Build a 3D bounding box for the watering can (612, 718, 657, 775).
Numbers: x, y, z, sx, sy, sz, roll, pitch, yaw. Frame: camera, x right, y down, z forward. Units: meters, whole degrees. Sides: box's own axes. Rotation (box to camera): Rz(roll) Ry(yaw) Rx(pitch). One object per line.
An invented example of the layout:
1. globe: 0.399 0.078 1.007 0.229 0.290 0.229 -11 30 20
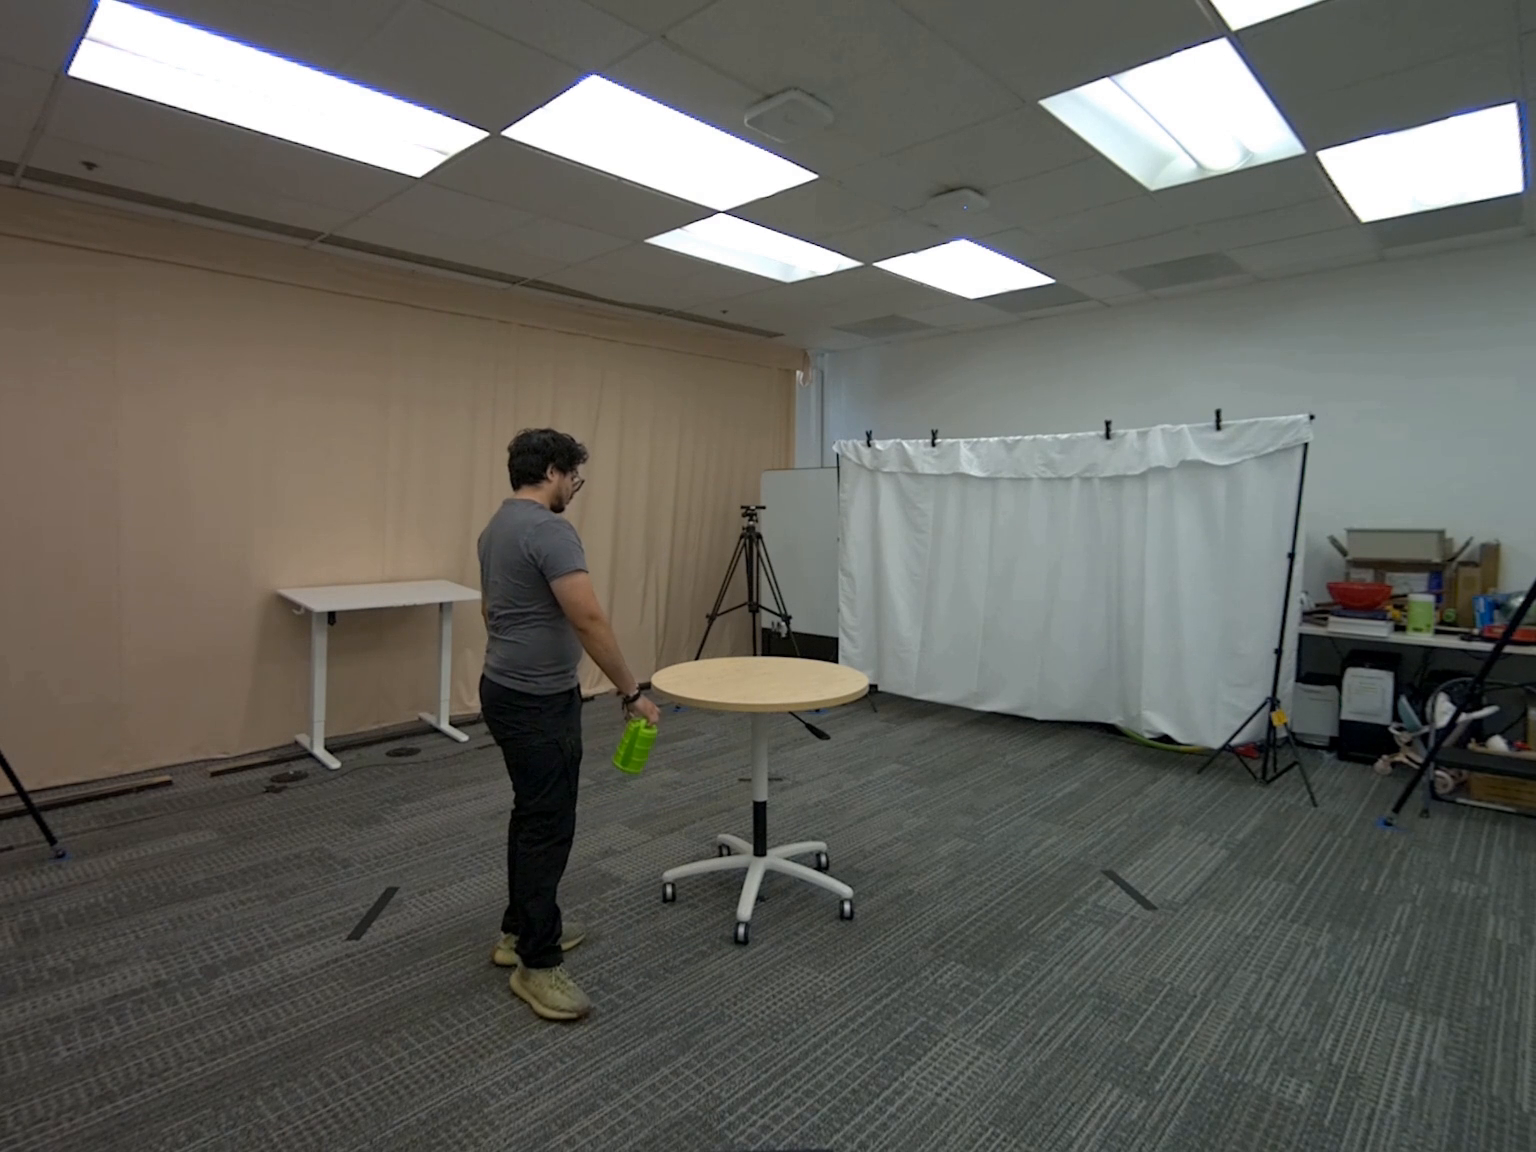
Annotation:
1. watering can: -0.406 0.484 2.451 0.100 0.177 0.272 21 3 16
